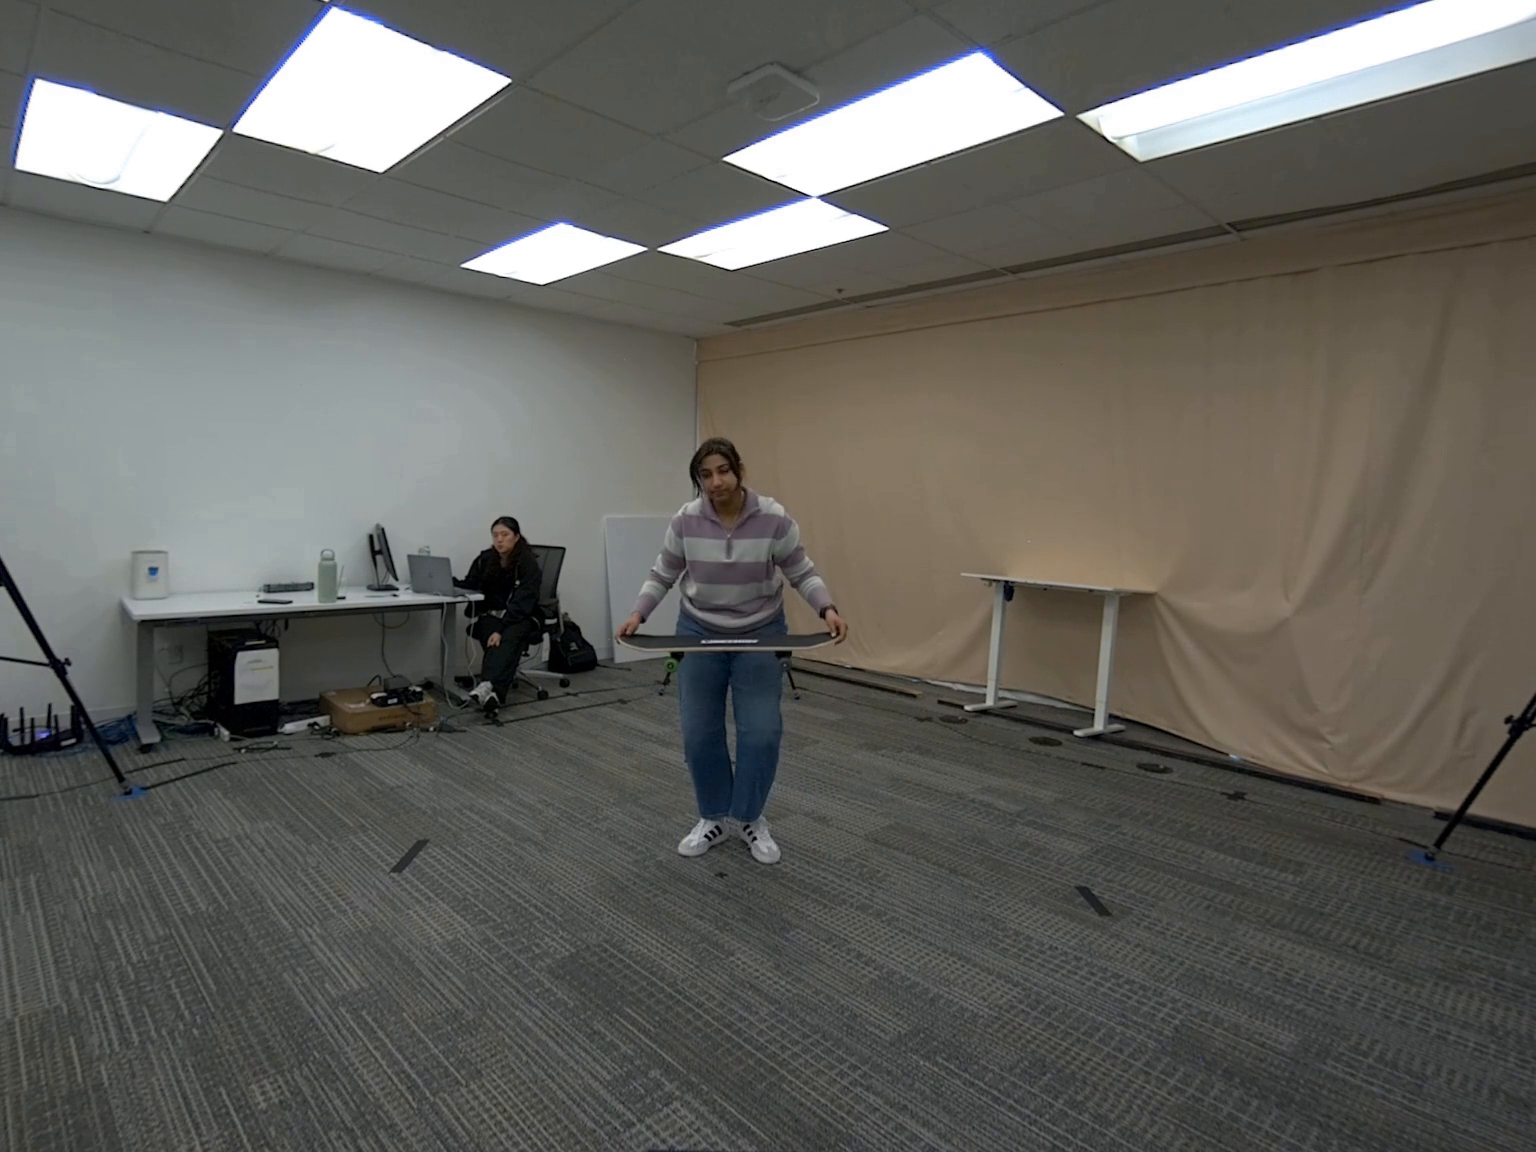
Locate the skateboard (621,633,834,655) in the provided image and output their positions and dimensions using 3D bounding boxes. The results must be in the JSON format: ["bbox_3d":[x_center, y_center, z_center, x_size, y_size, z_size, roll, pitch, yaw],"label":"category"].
[{"bbox_3d":[-0.161,0.274,2.999,0.788,0.109,0.194,-2,11,4],"label":"skateboard"}]
